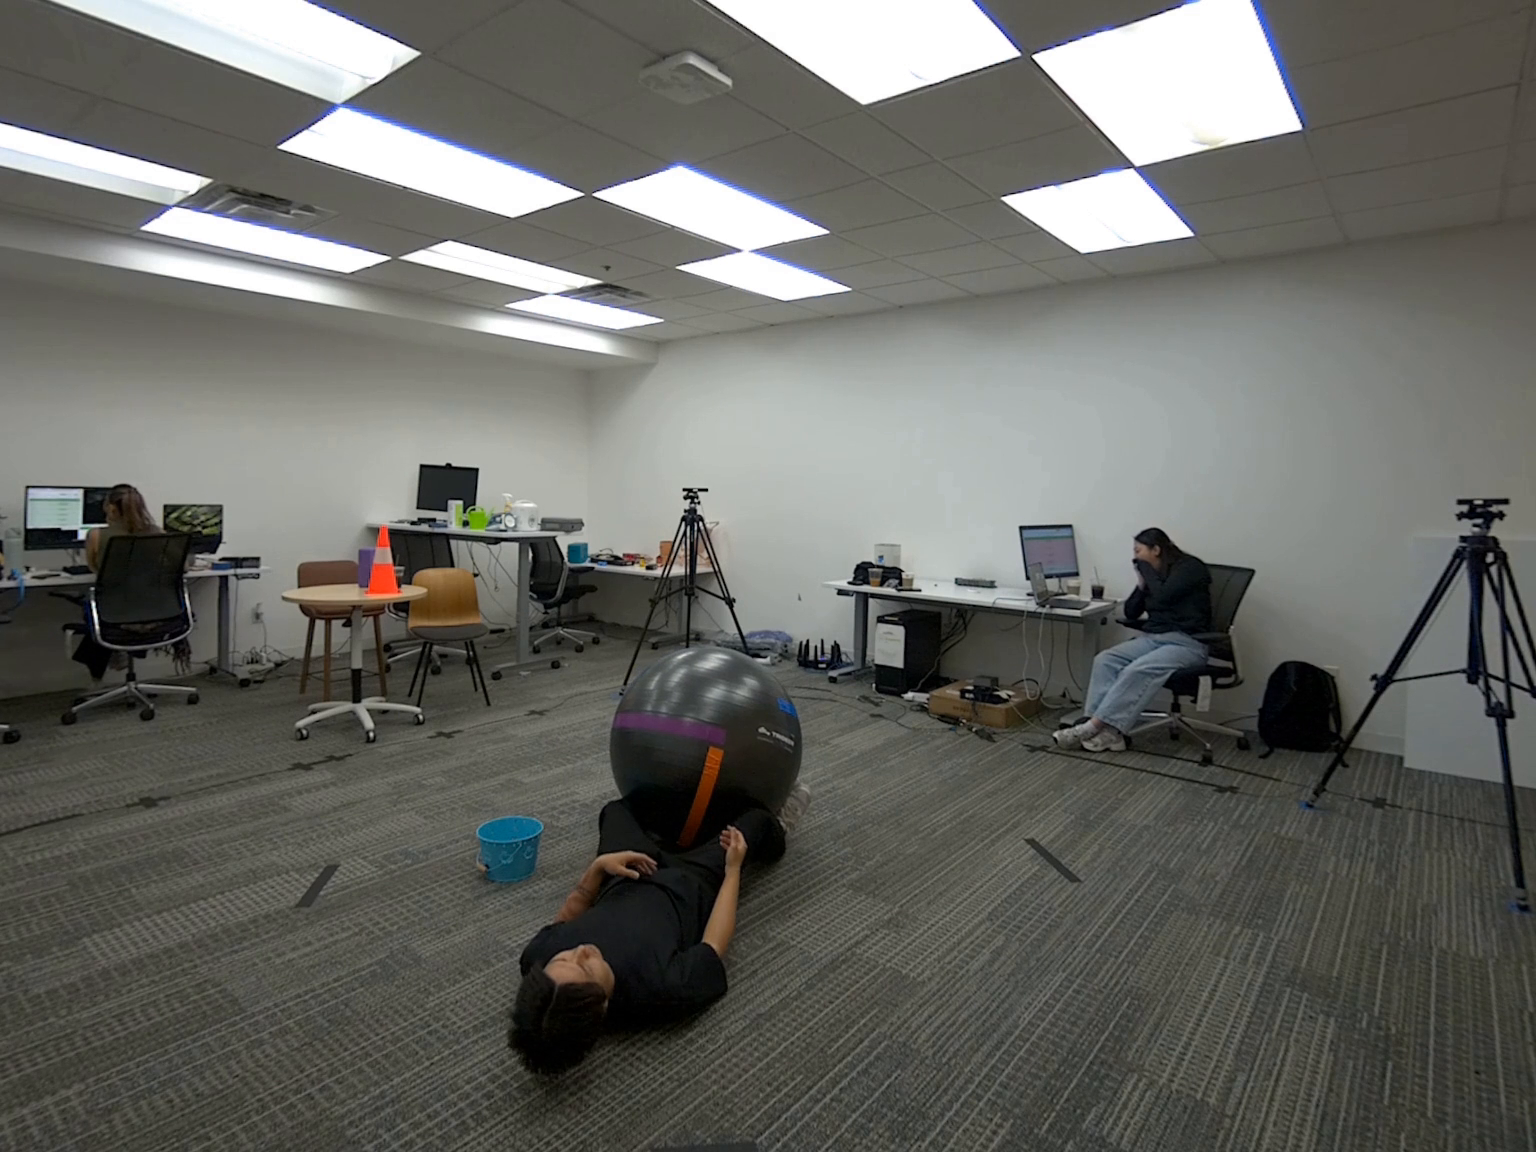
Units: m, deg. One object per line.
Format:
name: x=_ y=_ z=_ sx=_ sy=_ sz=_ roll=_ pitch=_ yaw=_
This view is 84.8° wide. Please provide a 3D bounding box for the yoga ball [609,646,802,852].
yoga ball: x=-0.254 y=0.663 z=3.340 sx=0.757 sy=0.755 sz=0.762 roll=1 pitch=4 yaw=-2
